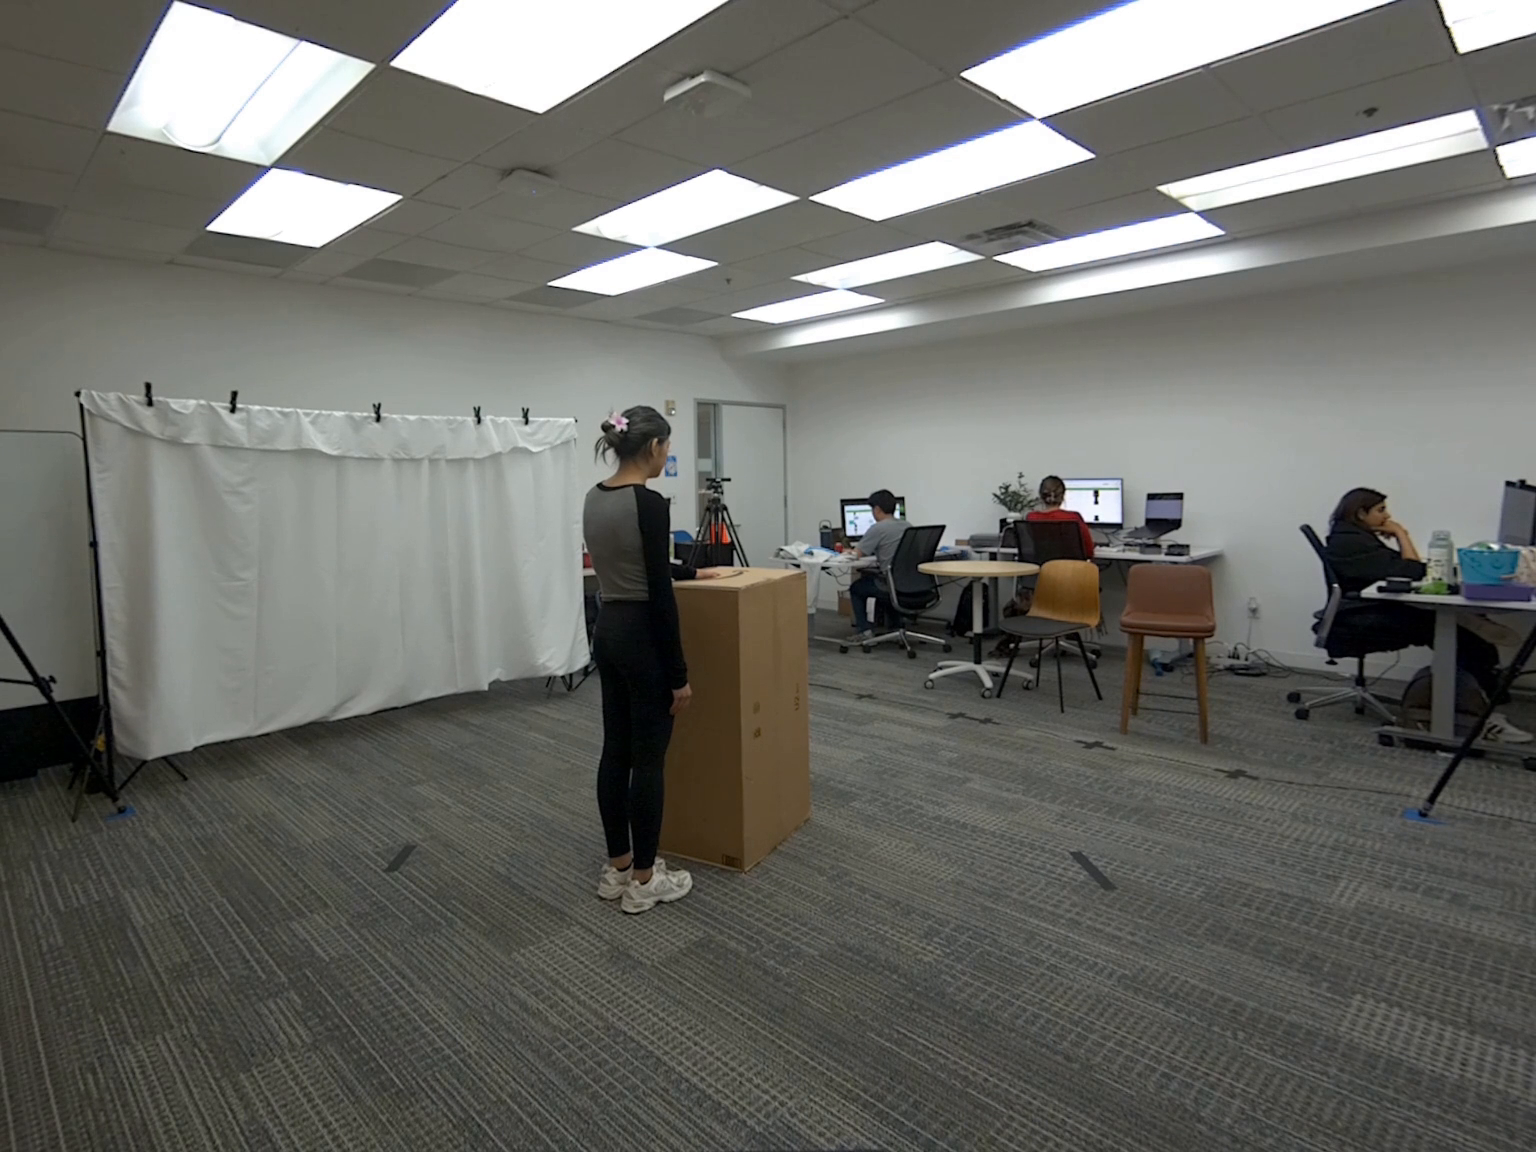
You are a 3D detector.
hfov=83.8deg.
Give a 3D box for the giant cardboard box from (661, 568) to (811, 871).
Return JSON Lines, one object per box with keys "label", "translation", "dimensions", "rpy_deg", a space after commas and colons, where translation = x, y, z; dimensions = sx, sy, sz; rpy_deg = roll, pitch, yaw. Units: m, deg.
{"label": "giant cardboard box", "translation": [-0.149, 0.511, 3.342], "dimensions": [0.458, 1.023, 0.572], "rpy_deg": [2, 5, 27]}
